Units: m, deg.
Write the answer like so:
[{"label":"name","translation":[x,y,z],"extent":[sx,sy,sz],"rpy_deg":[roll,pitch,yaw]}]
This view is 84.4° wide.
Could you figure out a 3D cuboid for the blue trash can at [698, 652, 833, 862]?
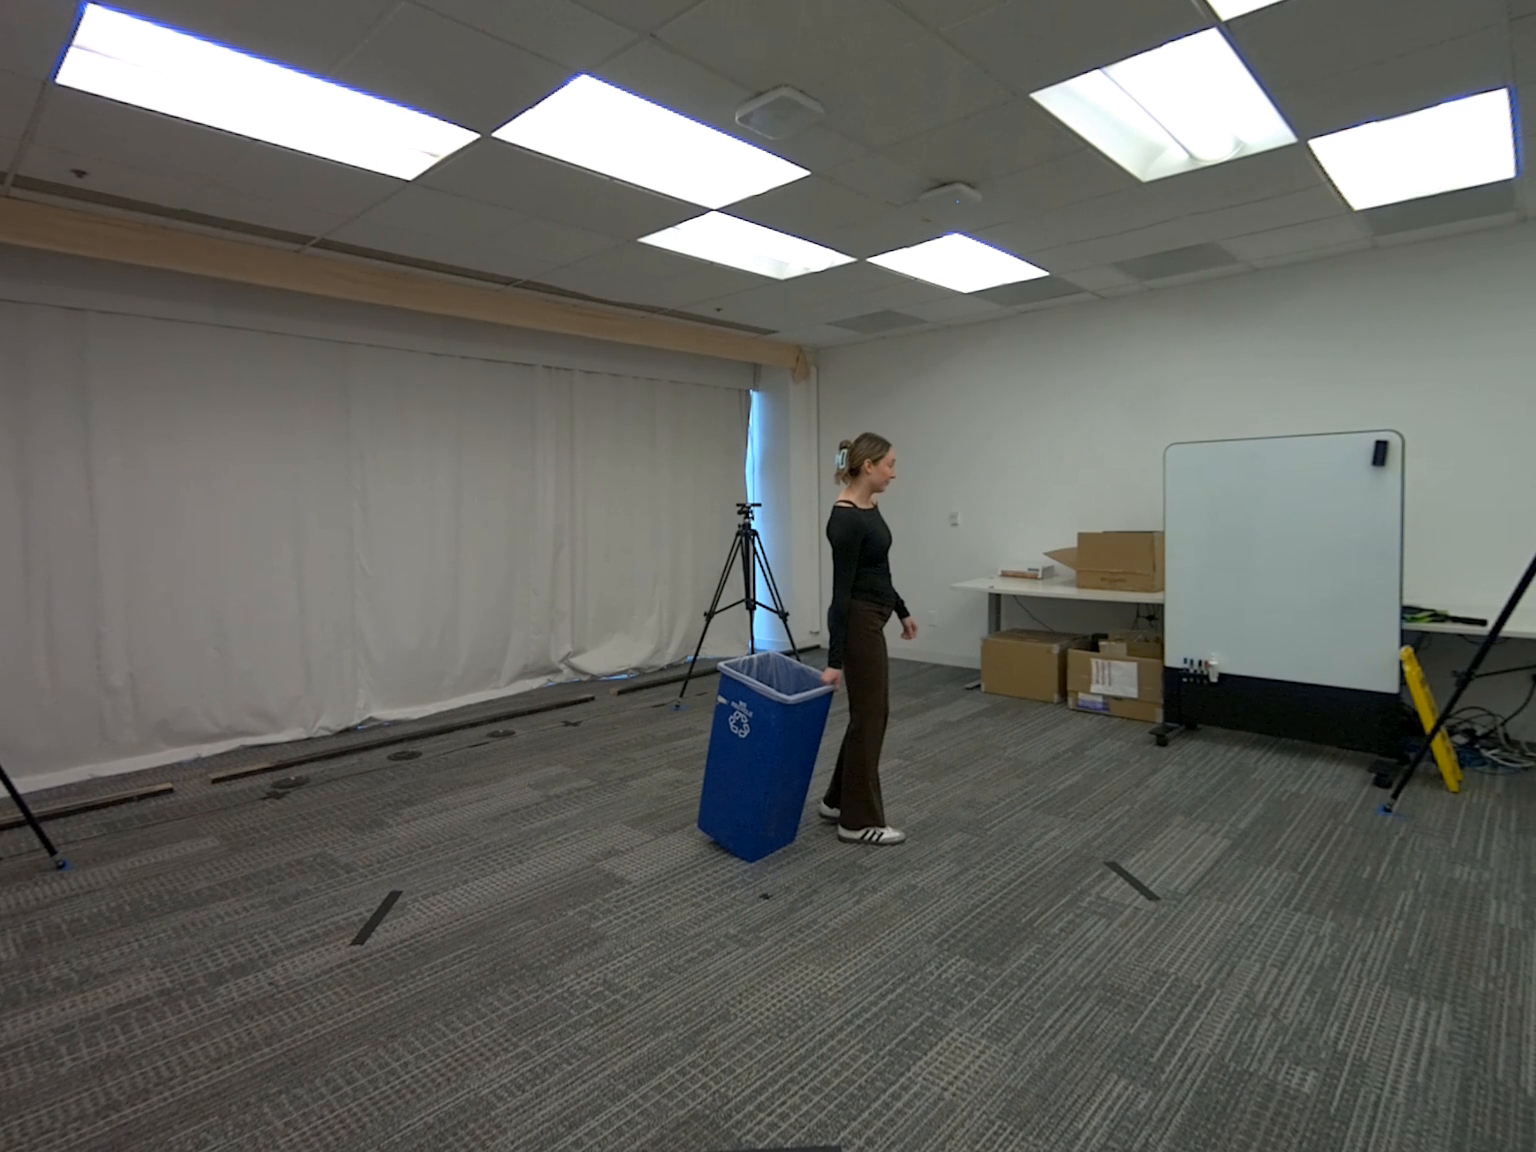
[{"label":"blue trash can","translation":[-0.022,0.719,3.375],"extent":[0.387,0.709,0.367],"rpy_deg":[20,16,37]}]
